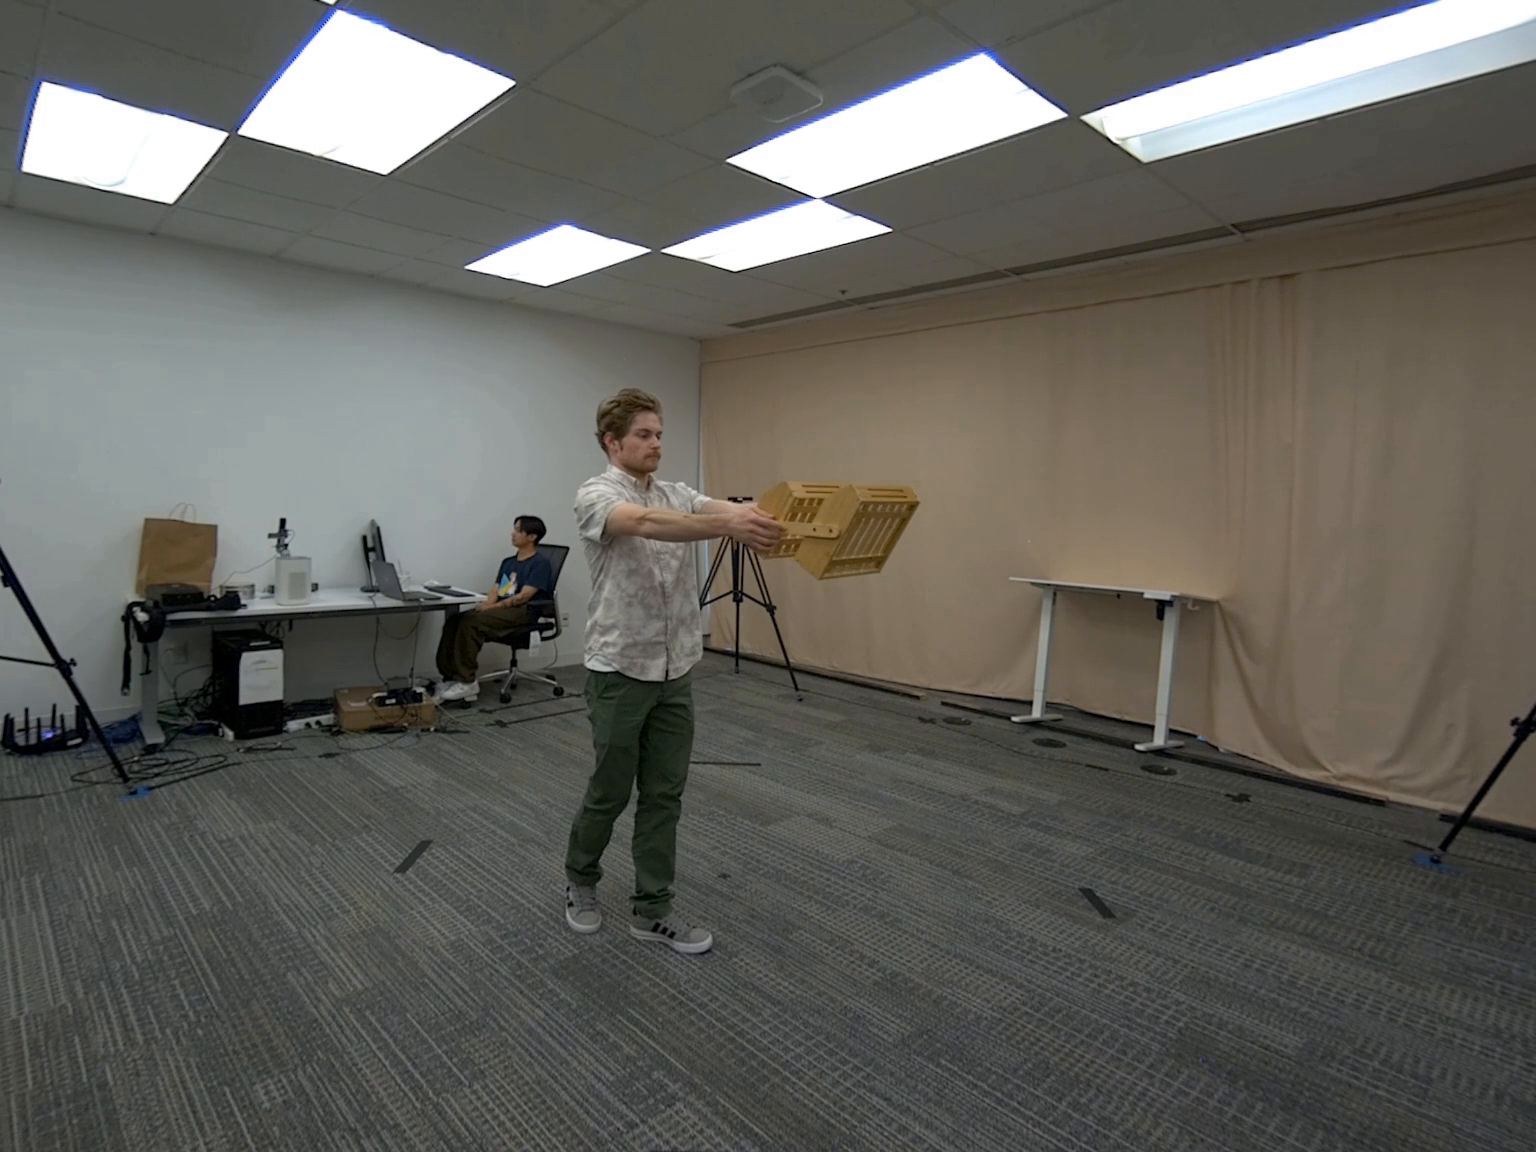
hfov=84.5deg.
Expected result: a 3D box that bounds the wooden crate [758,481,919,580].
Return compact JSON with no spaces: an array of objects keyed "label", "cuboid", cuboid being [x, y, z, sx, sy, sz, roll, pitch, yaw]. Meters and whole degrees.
[{"label":"wooden crate","cuboid":[0.157,-0.156,2.213,0.281,0.300,0.317,40,25,29]}]
